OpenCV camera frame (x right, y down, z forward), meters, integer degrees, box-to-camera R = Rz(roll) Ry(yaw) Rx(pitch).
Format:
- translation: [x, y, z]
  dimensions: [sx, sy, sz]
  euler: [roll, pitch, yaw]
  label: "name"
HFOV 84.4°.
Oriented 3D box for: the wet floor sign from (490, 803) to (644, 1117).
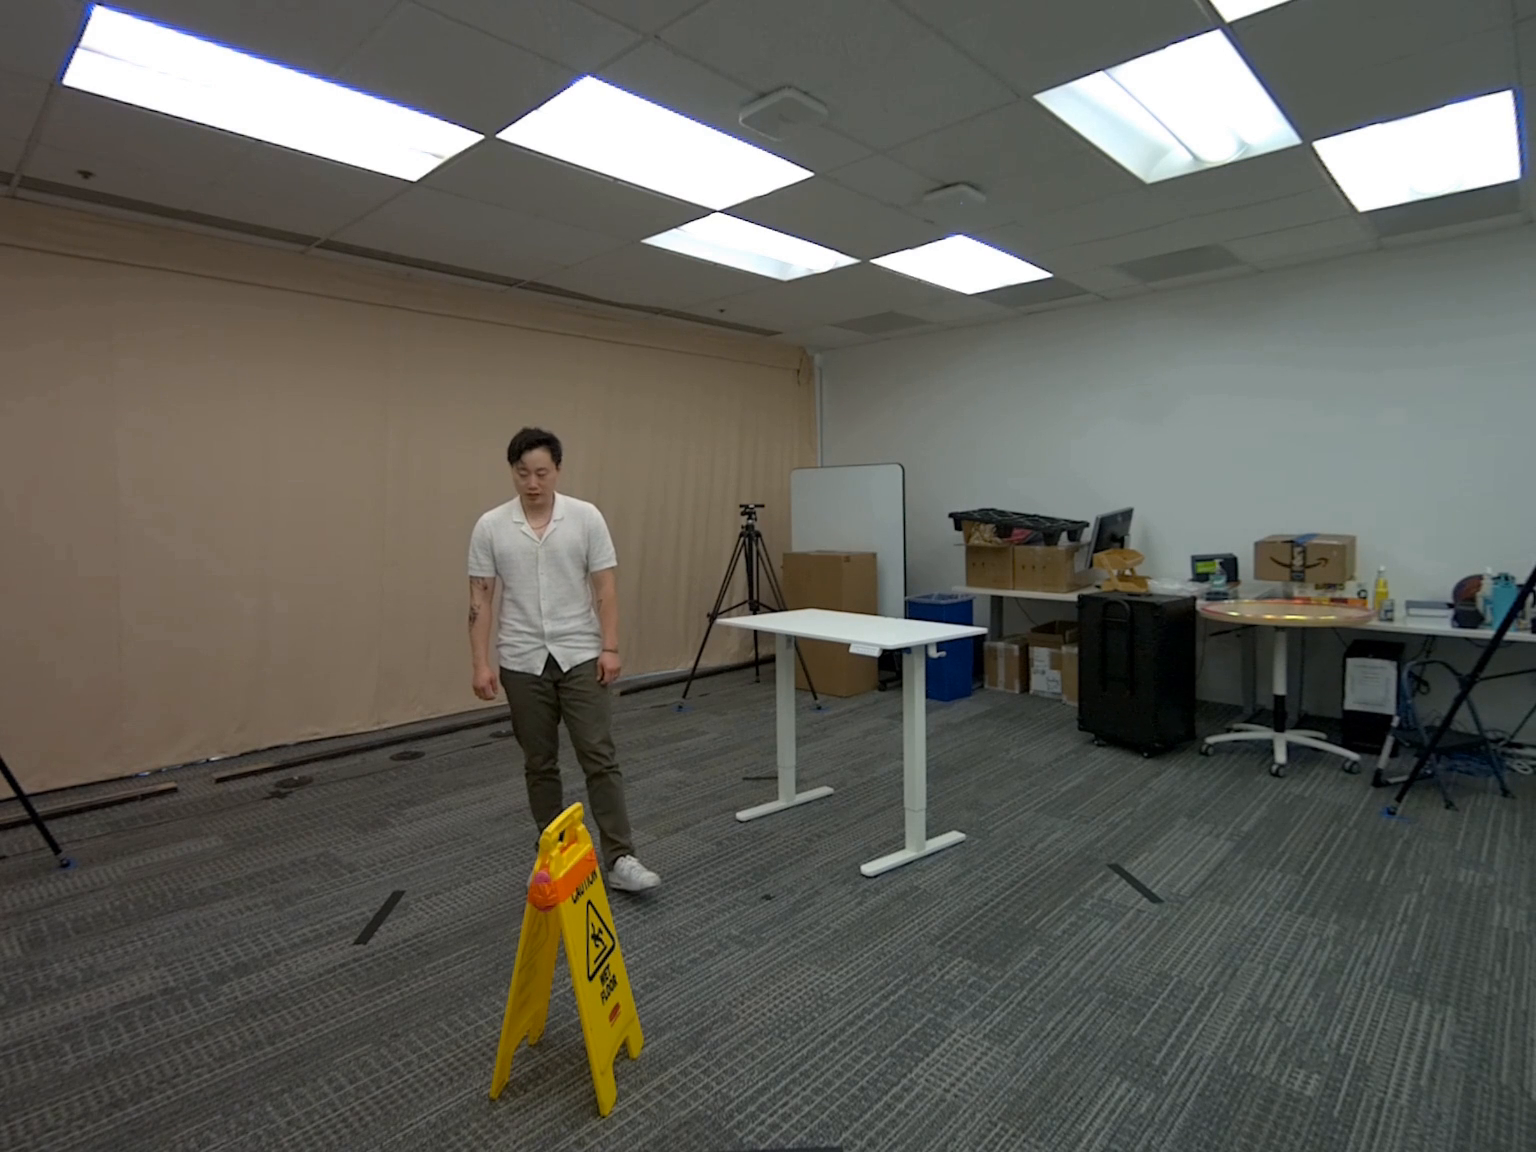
- translation: [-0.500, 0.904, 2.057]
  dimensions: [0.294, 0.645, 0.279]
  euler: [0, 1, 12]
  label: "wet floor sign"
